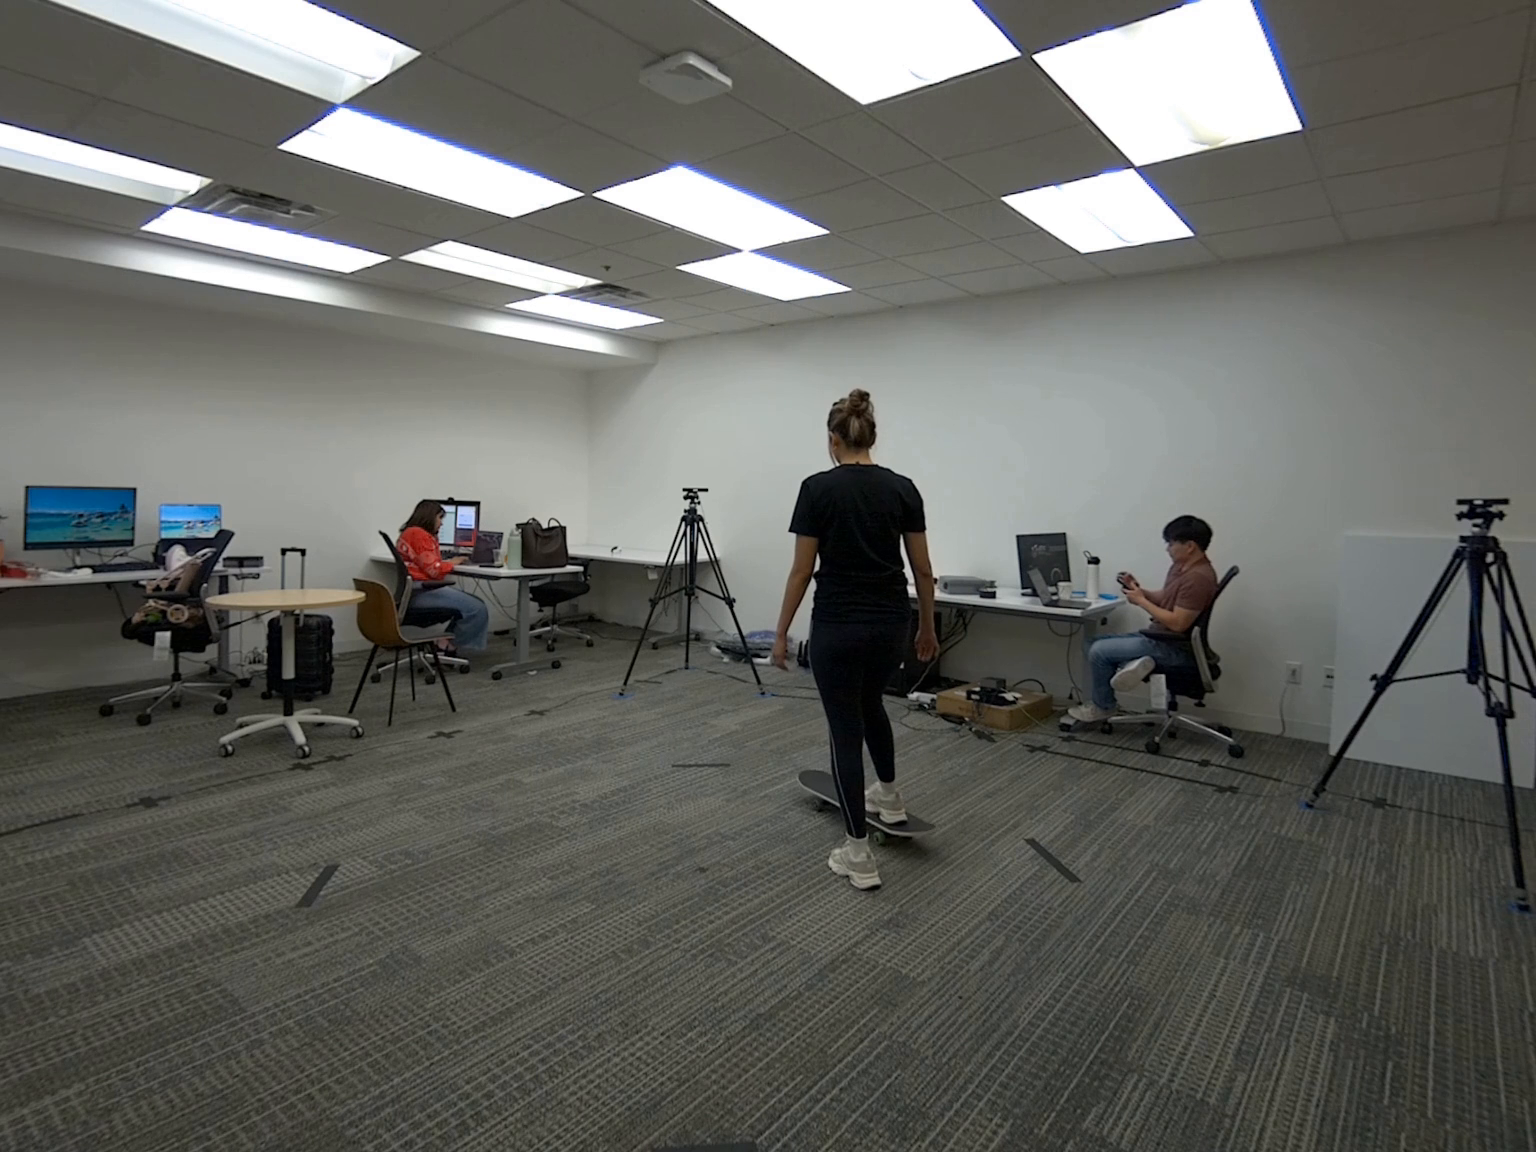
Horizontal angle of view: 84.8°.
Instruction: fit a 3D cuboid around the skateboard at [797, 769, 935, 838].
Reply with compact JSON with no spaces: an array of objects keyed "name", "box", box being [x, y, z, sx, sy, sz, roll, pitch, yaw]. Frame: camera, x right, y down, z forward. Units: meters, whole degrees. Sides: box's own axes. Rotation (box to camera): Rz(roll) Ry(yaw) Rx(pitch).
[{"name":"skateboard","box":[0.385,0.982,3.579,0.188,0.110,0.810,-2,6,-33]}]
